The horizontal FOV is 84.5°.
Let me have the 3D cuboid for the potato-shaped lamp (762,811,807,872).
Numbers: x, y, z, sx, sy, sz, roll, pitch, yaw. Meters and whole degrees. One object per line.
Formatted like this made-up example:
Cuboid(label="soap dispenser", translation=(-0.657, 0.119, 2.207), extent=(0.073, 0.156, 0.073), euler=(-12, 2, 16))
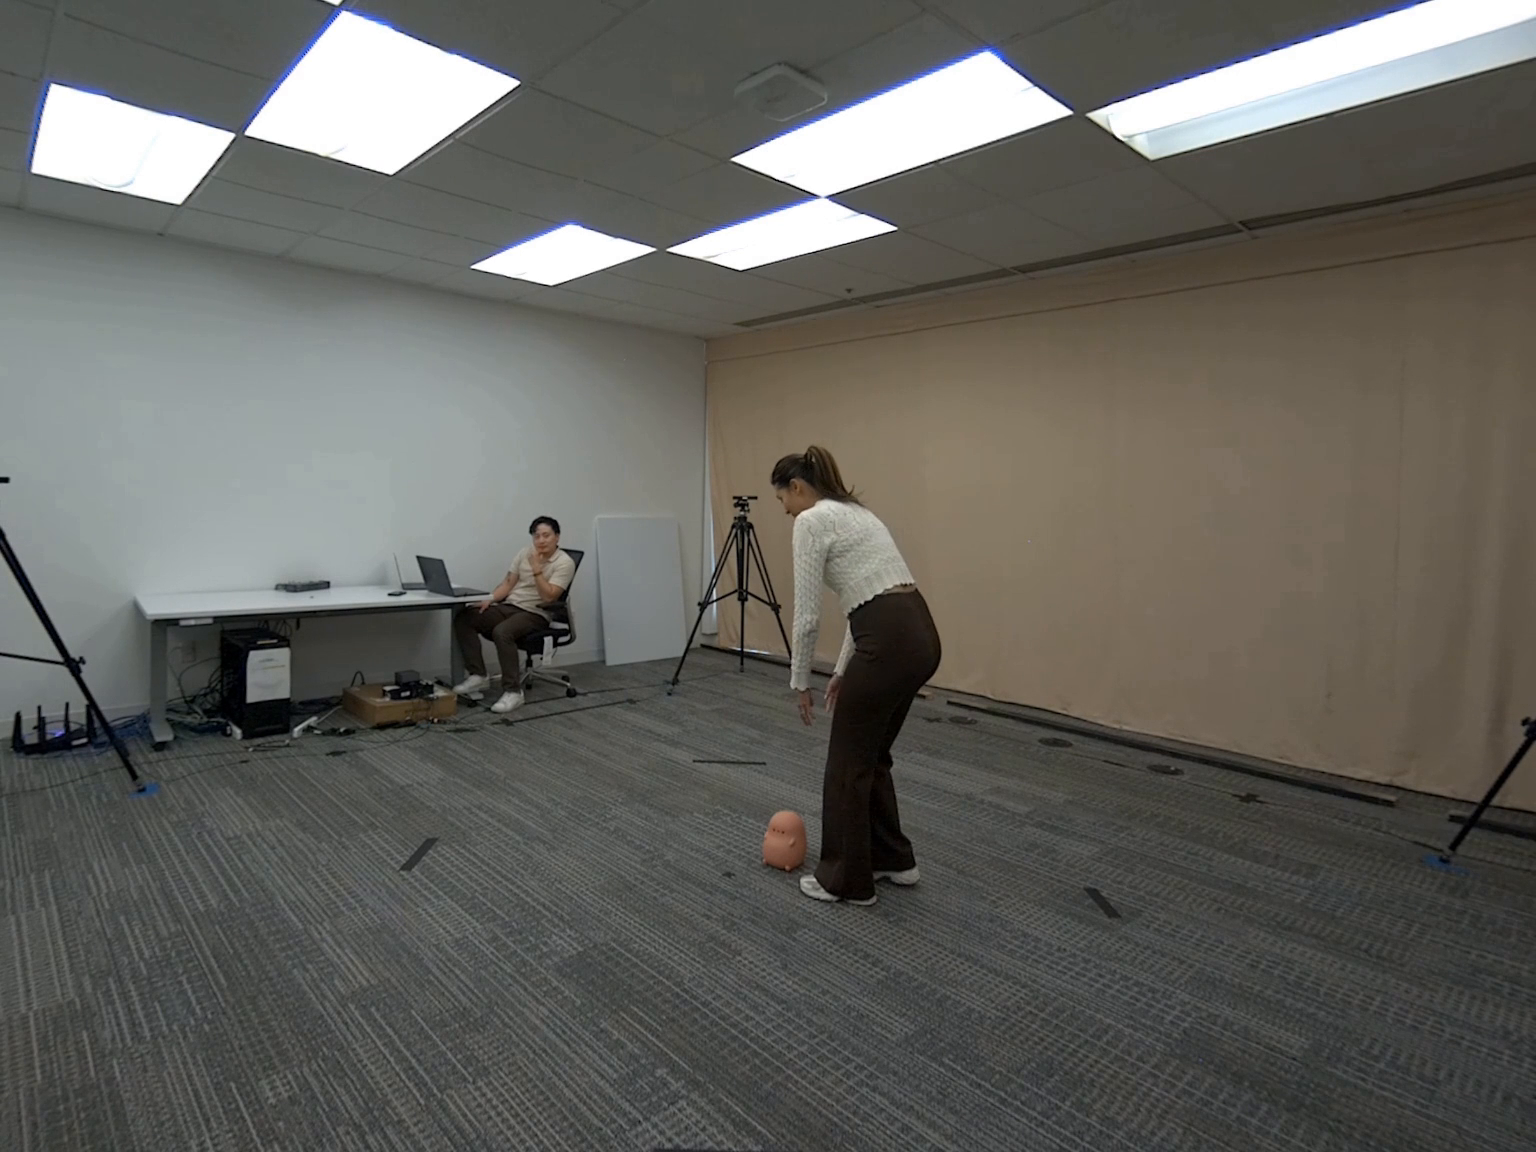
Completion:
Cuboid(label="potato-shaped lamp", translation=(0.058, 0.997, 3.207), extent=(0.168, 0.197, 0.168), euler=(7, 8, 29))
